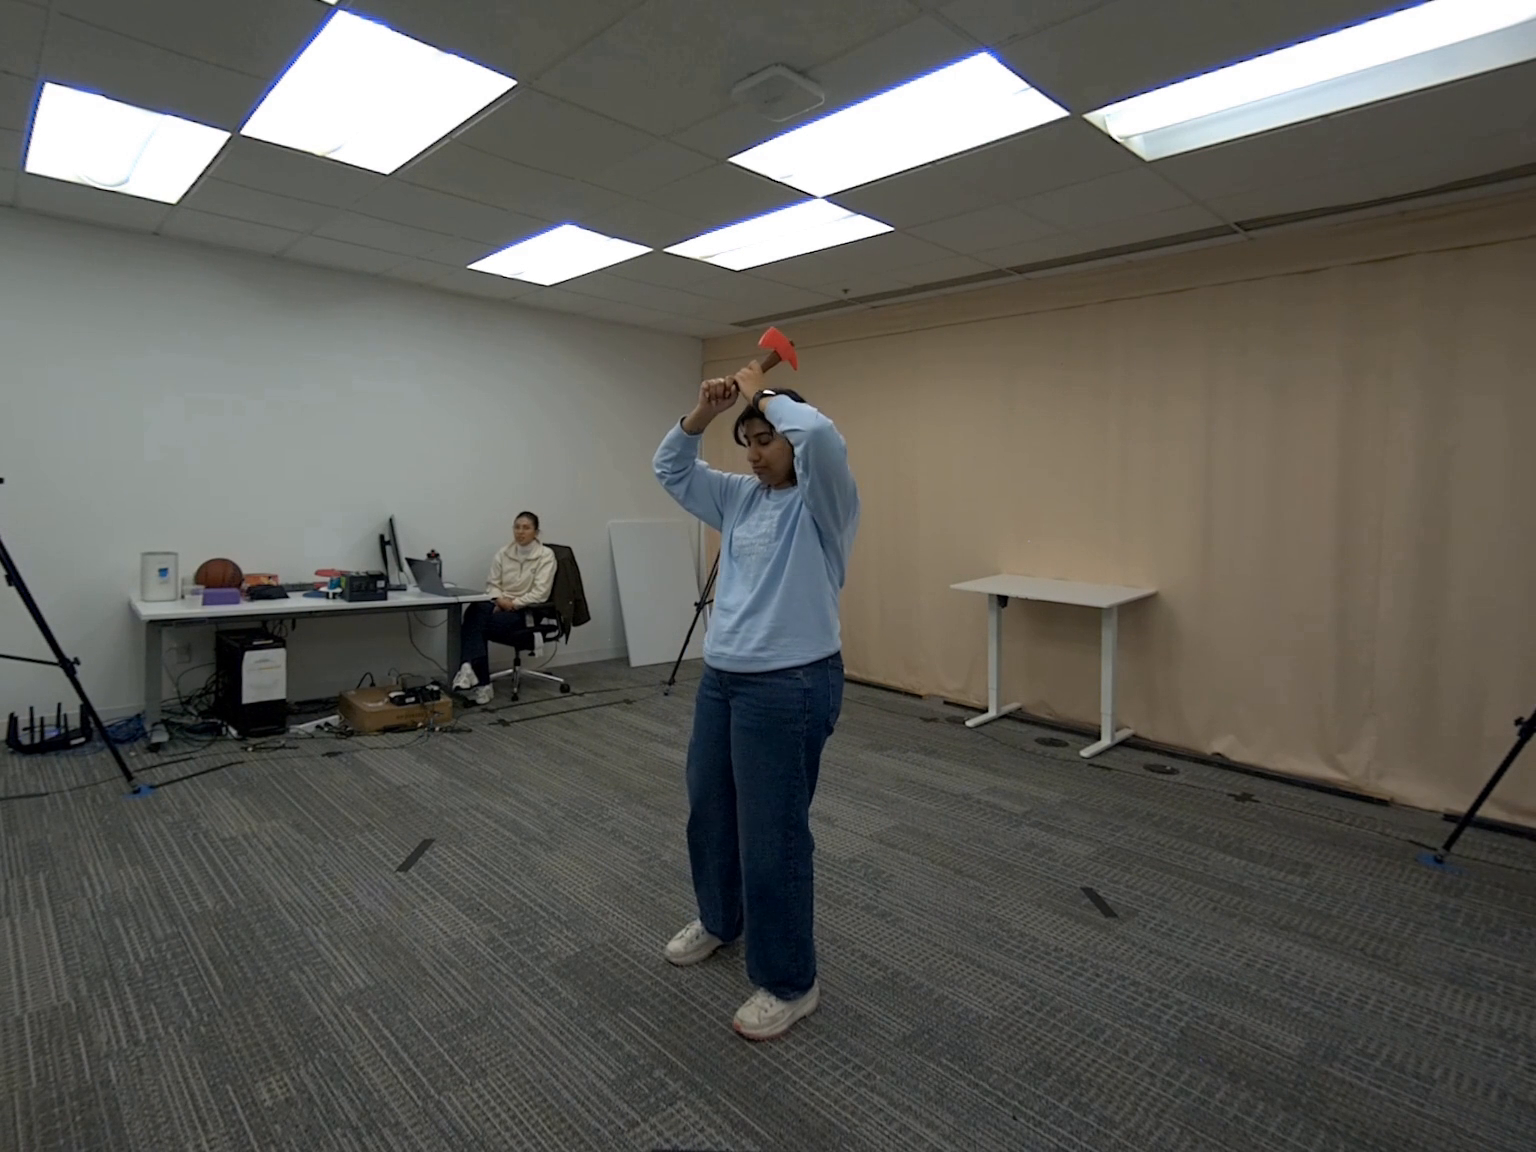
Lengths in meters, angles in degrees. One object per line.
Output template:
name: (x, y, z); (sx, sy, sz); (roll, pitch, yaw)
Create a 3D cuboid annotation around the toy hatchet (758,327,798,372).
toy hatchet: (-0.061, -0.553, 2.158); (0.268, 0.128, 0.030); (-23, 30, -14)
